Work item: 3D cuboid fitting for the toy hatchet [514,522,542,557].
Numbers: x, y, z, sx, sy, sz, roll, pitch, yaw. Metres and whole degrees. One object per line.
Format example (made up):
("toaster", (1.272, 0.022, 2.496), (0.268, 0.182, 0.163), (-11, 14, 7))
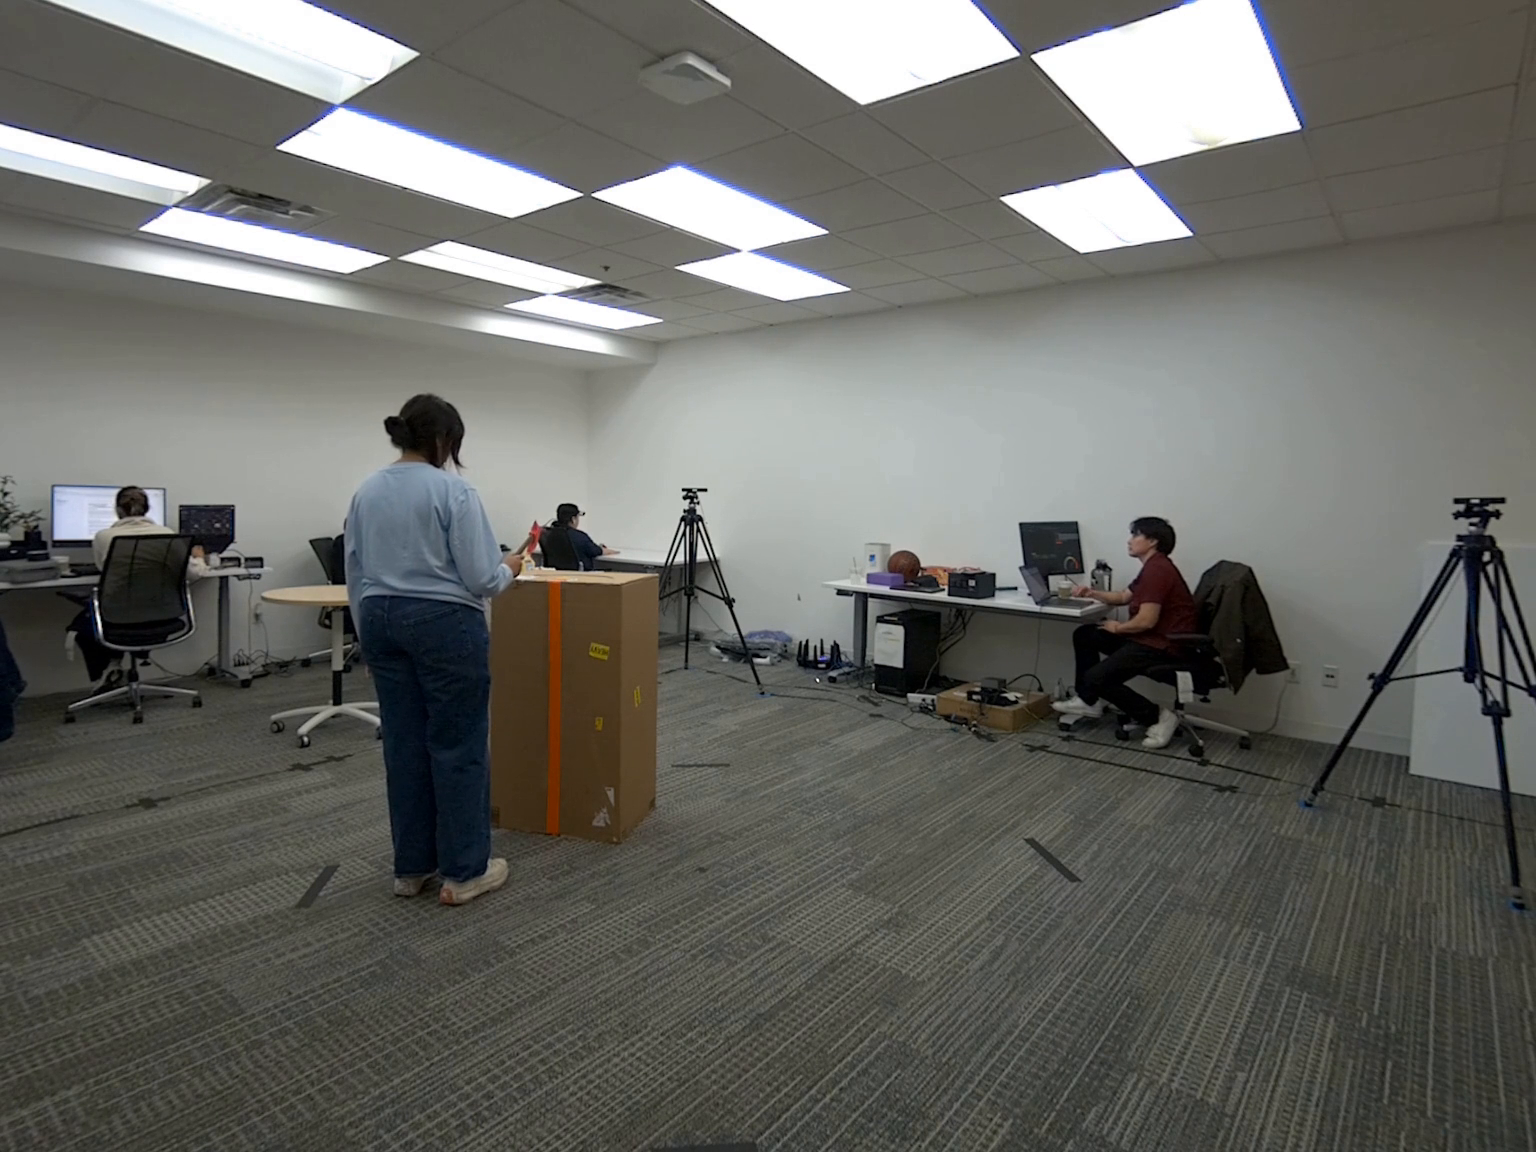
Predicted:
("toy hatchet", (-0.943, -0.079, 3.226), (0.029, 0.275, 0.129), (16, -39, -3))
